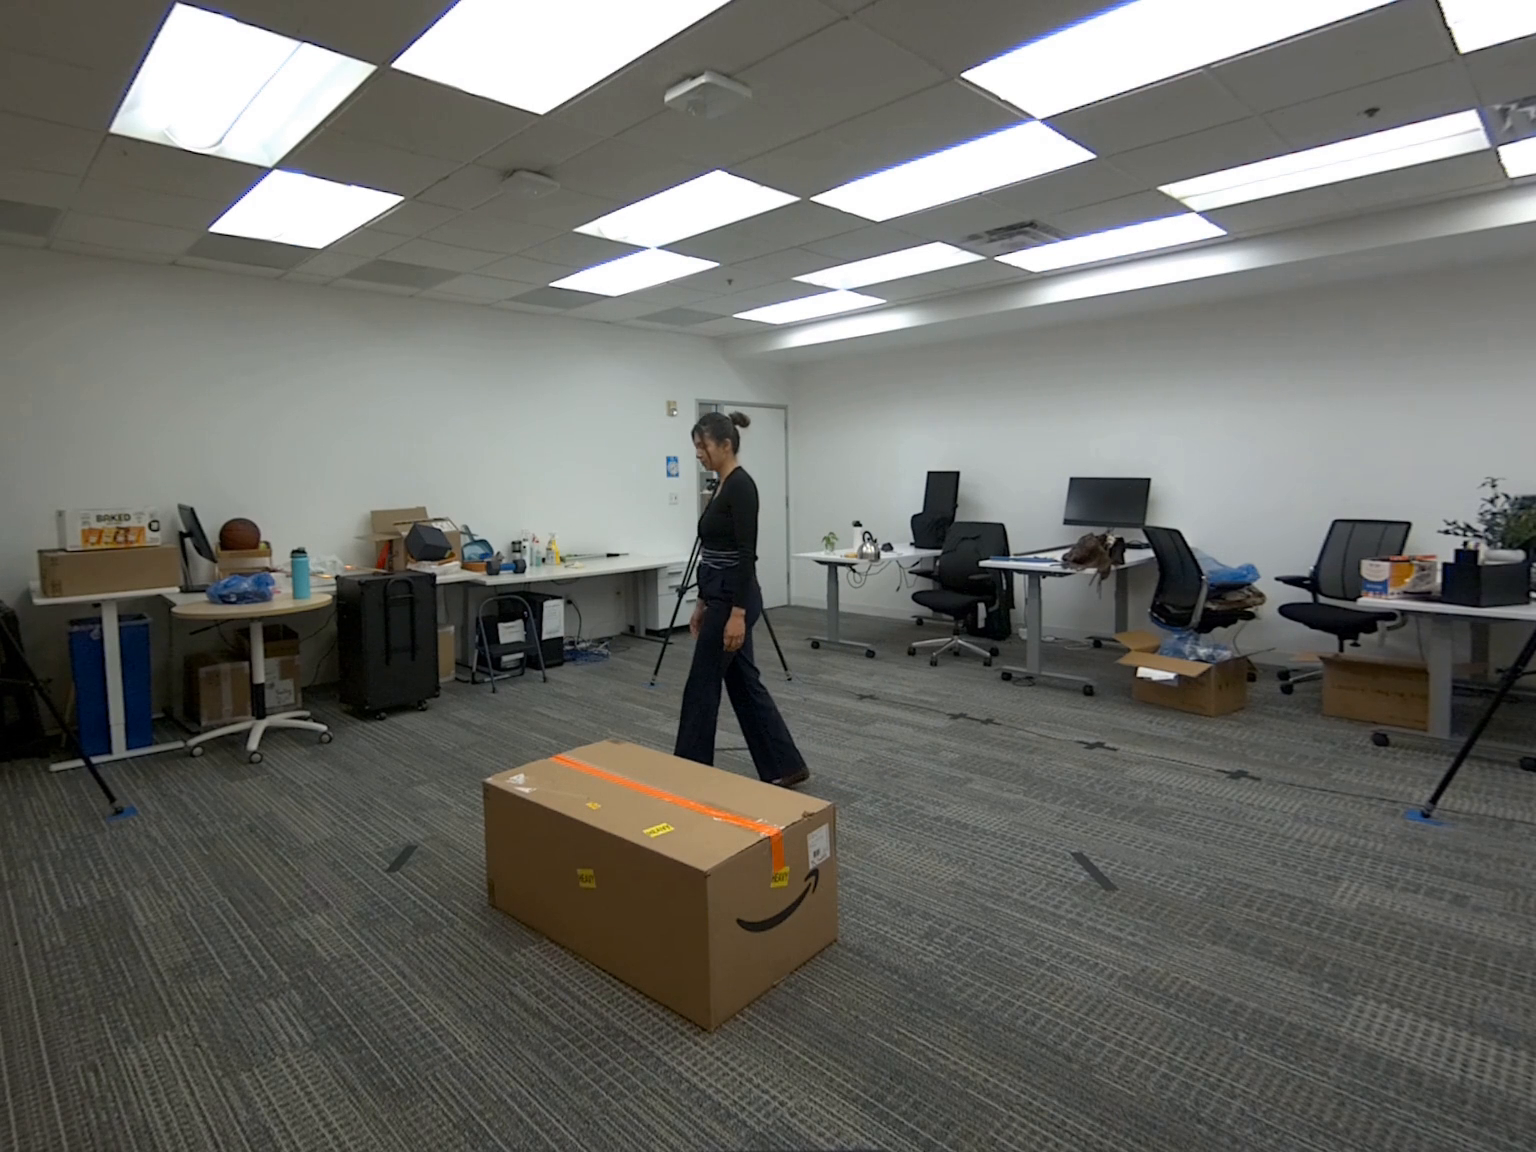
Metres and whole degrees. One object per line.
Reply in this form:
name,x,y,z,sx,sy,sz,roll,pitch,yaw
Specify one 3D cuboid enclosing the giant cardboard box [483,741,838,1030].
giant cardboard box,-0.364,0.883,2.701,1.057,0.424,0.563,4,9,41
